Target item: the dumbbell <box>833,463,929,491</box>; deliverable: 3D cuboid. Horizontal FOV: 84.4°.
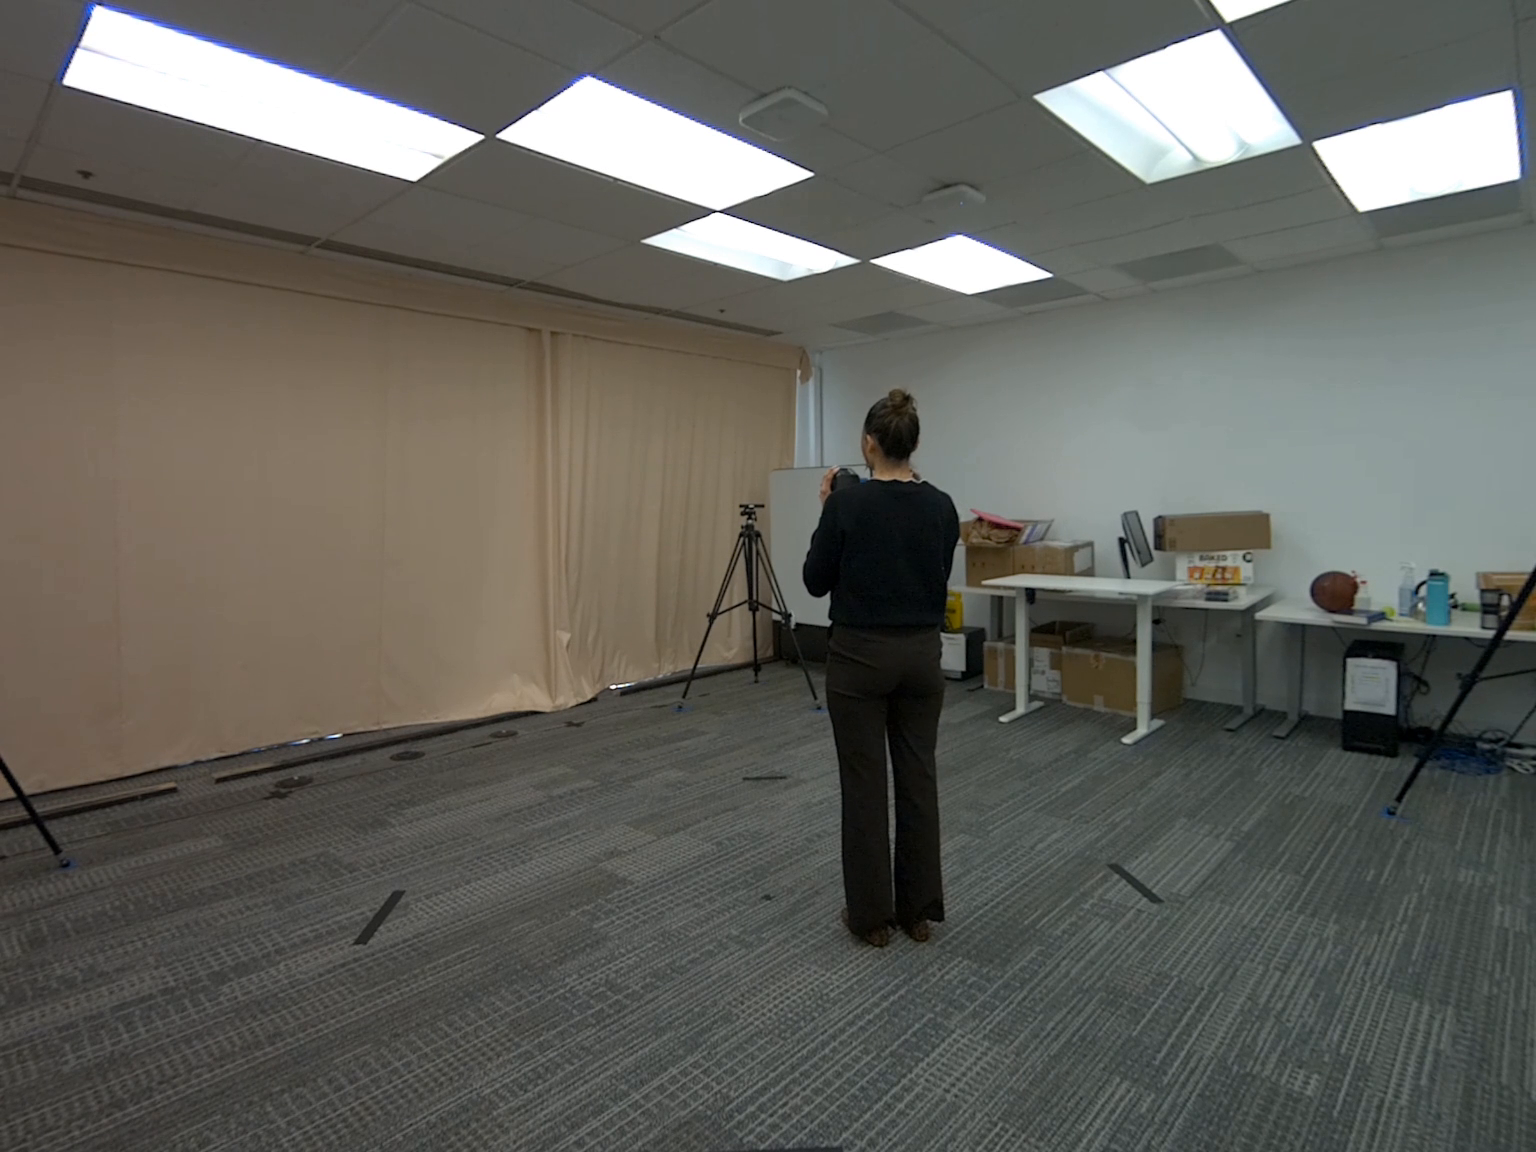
[{"bbox_3d":[0.362,-0.287,2.750,0.289,0.124,0.109,-1,-13,-16],"label":"dumbbell"}]
